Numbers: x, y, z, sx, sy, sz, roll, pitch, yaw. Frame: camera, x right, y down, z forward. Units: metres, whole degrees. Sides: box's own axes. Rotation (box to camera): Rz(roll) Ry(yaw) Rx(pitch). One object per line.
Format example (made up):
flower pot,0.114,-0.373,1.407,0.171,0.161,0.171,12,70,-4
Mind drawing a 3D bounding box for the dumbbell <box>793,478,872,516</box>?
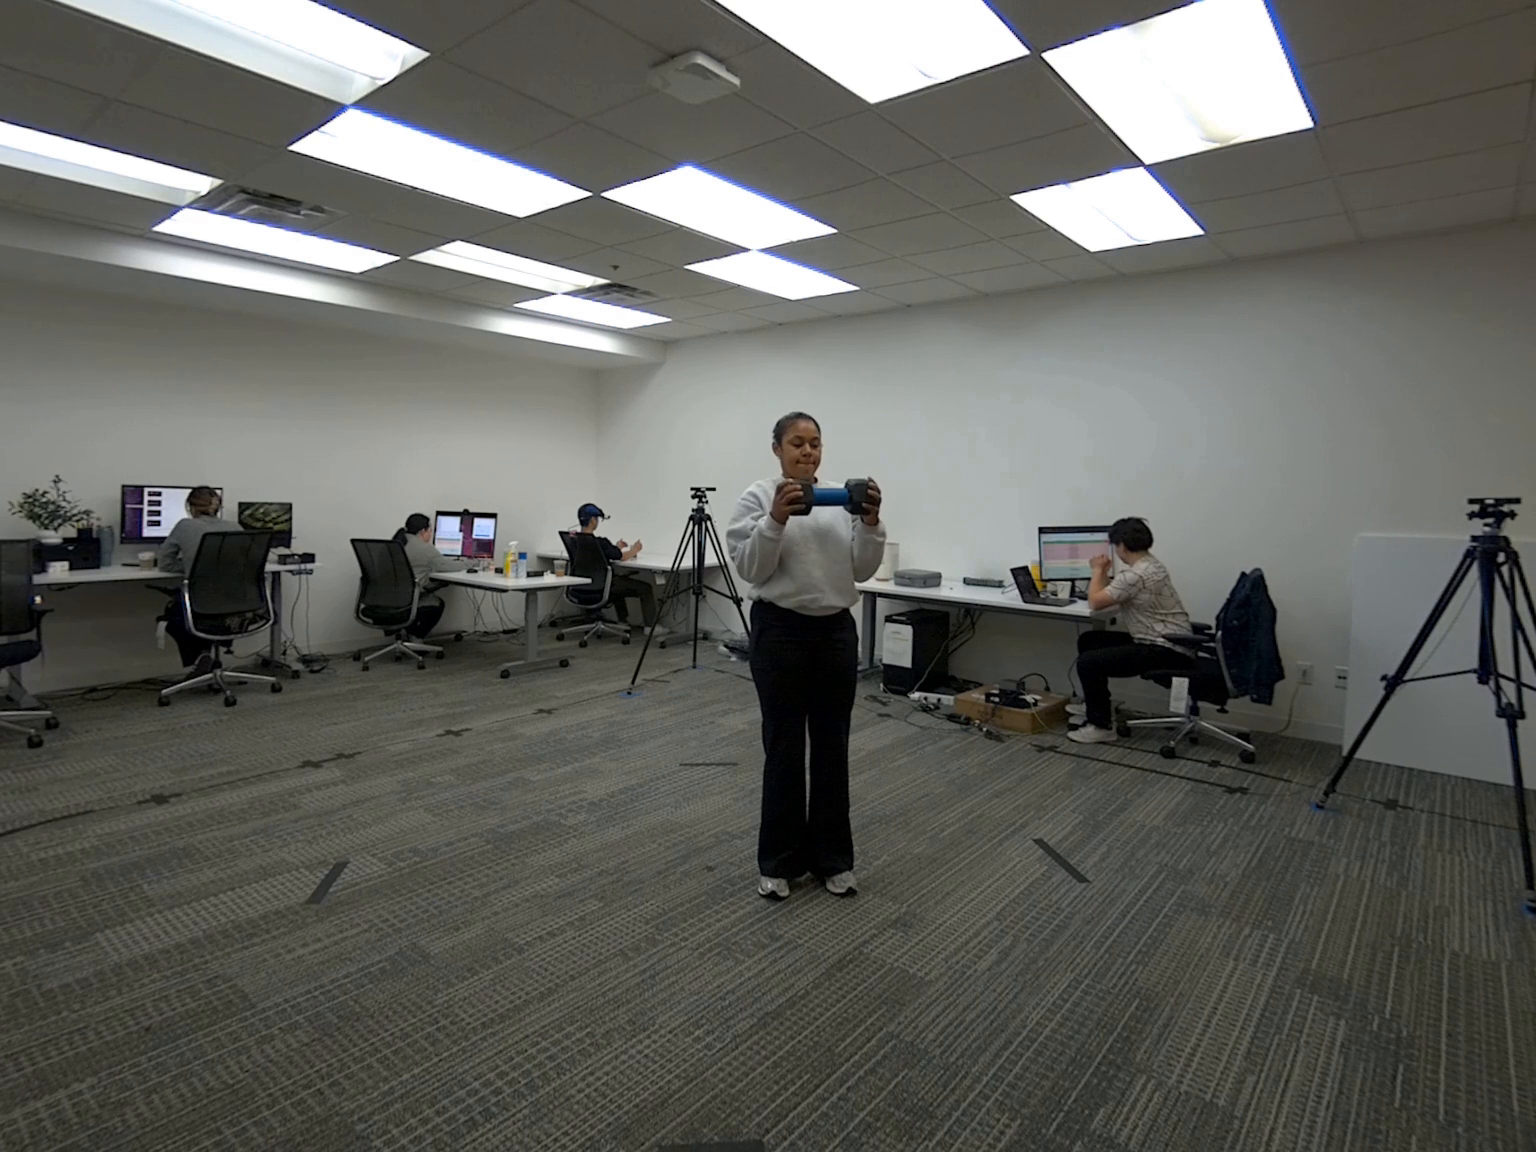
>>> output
dumbbell,0.180,-0.246,2.756,0.290,0.124,0.109,-1,-7,-12
